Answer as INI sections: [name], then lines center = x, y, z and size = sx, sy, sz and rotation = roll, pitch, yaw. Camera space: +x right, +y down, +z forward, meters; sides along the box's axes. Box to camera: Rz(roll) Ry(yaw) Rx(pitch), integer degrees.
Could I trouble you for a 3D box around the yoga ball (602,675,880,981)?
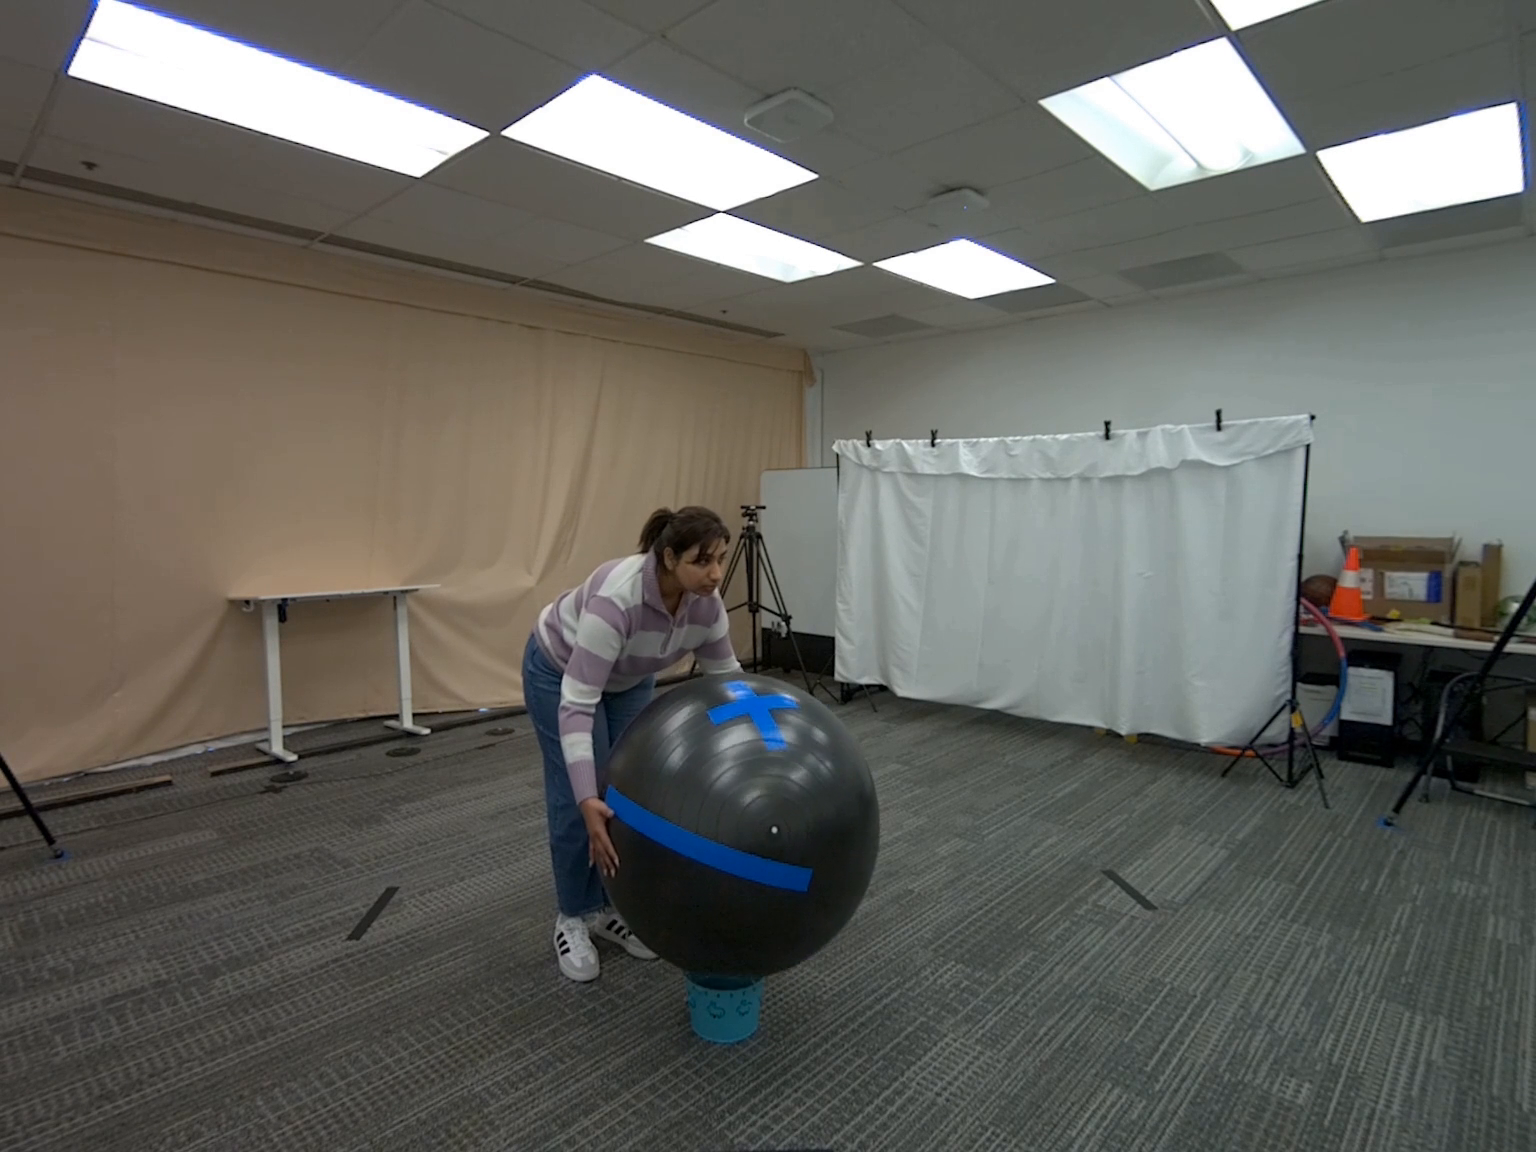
[yoga ball]
center = -0.081, 0.642, 2.220
size = 0.757, 0.756, 0.761
rotation = 0, 4, -2
